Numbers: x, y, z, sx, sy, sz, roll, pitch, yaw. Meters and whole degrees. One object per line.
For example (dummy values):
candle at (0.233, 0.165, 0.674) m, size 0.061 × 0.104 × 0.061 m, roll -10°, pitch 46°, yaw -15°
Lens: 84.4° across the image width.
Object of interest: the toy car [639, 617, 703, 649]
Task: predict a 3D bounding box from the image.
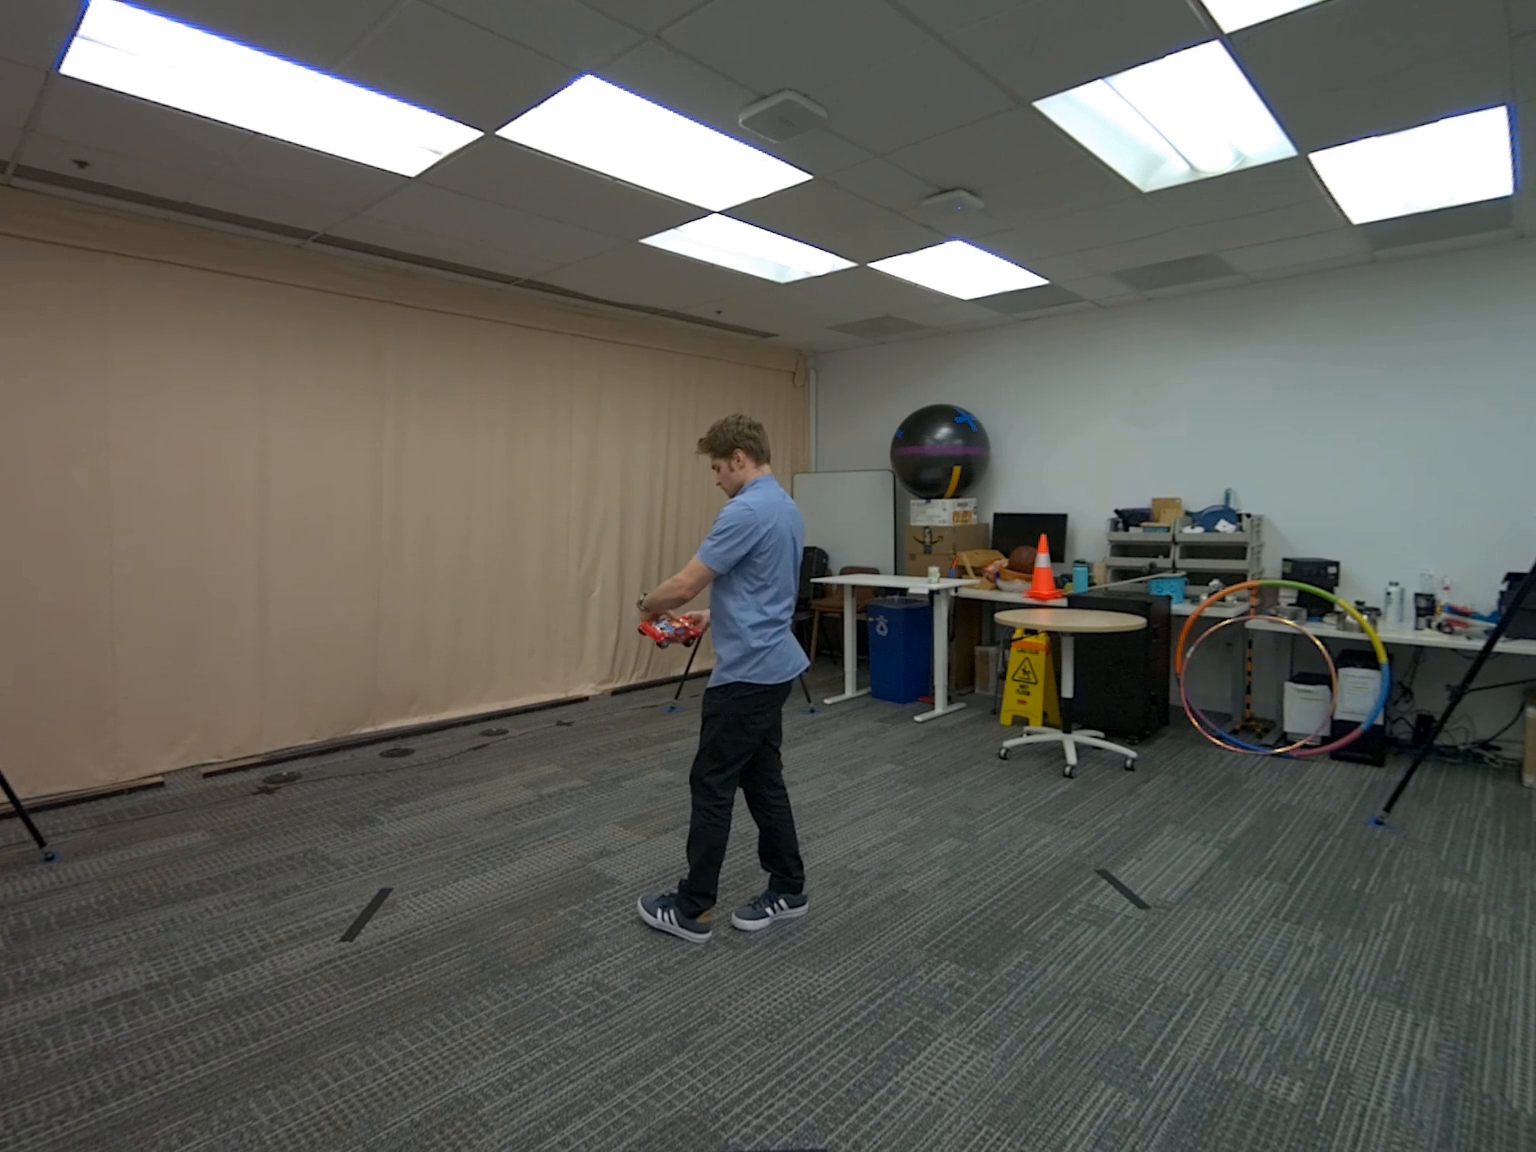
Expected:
toy car at (-0.325, 0.192, 2.875) m, size 0.135 × 0.082 × 0.248 m, roll 25°, pitch 22°, yaw 31°
